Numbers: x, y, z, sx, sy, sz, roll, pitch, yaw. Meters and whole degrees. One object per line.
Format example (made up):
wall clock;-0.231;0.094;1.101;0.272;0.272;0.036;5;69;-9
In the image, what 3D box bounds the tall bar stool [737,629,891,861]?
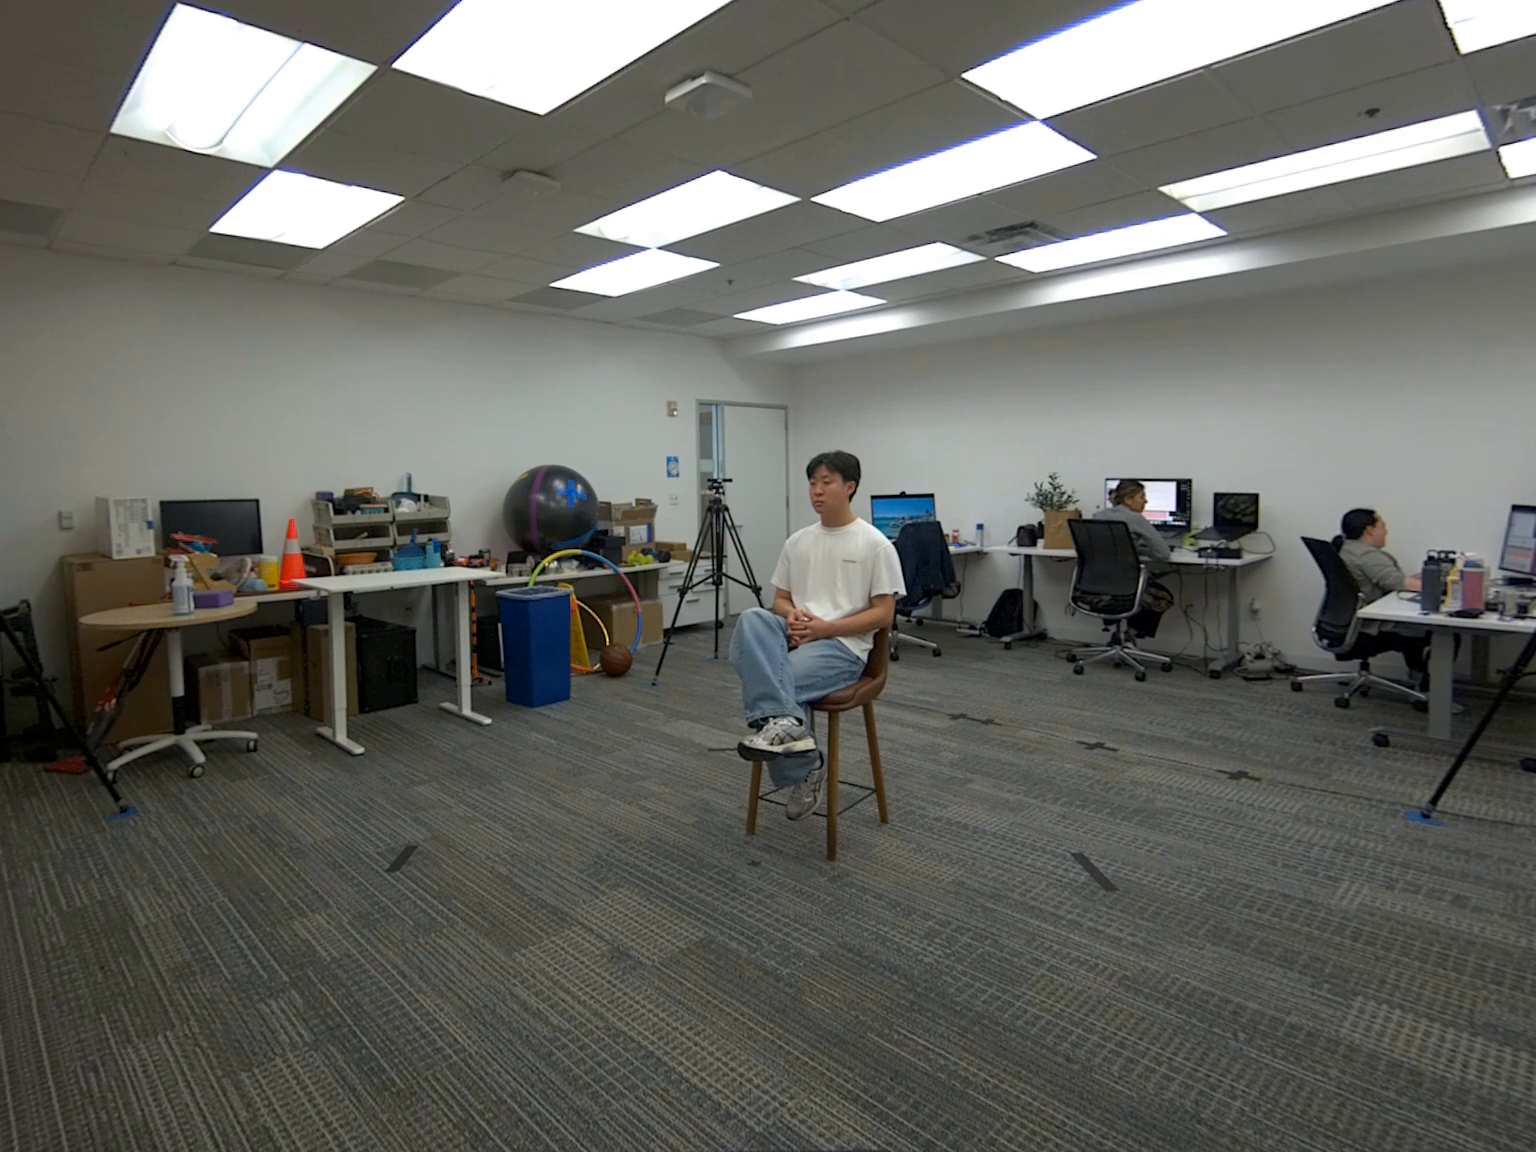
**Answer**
tall bar stool;0.215;0.576;3.391;0.470;0.888;0.455;4;3;38
